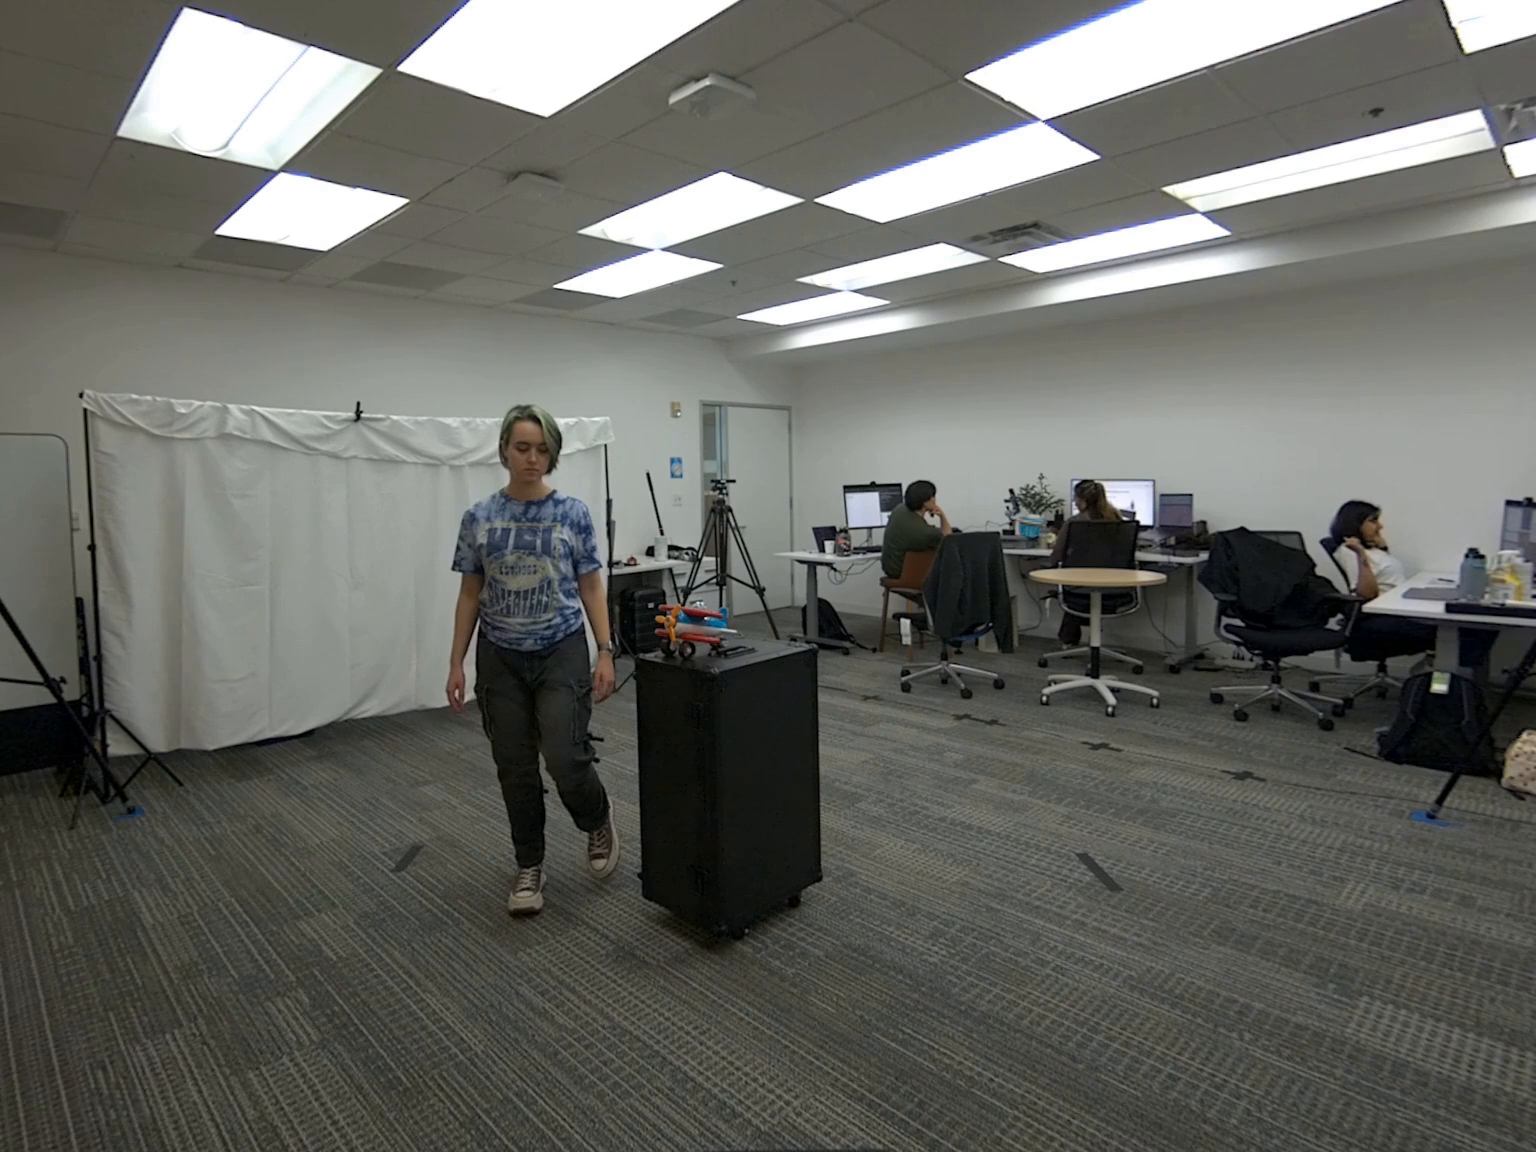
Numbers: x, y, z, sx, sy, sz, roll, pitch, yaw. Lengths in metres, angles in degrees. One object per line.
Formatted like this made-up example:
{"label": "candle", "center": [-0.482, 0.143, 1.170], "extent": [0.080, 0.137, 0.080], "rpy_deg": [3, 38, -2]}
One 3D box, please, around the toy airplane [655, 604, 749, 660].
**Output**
{"label": "toy airplane", "center": [-0.246, 0.165, 2.731], "extent": [0.255, 0.155, 0.257], "rpy_deg": [0, 7, 15]}
